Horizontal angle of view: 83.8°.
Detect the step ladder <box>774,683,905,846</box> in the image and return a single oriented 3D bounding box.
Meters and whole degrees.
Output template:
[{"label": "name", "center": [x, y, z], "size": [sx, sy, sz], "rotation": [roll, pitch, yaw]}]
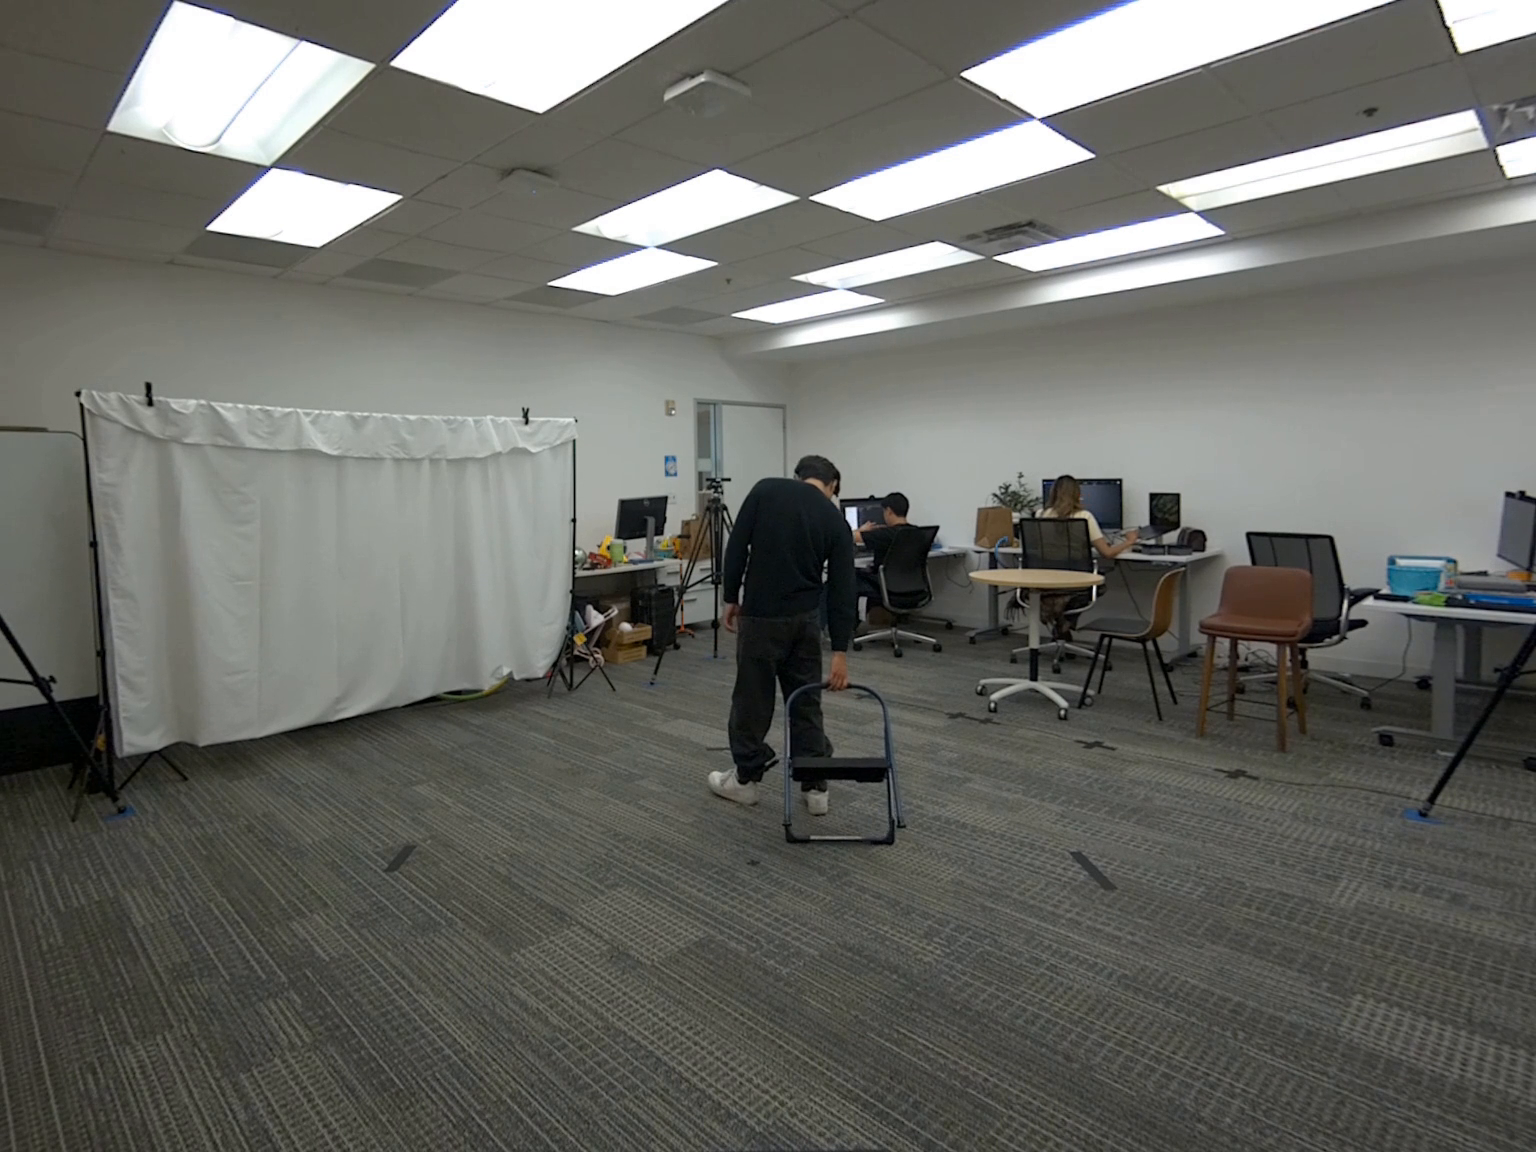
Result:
[{"label": "step ladder", "center": [0.276, 0.679, 3.273], "size": [0.432, 0.620, 0.340], "rotation": [0, -29, 3]}]
